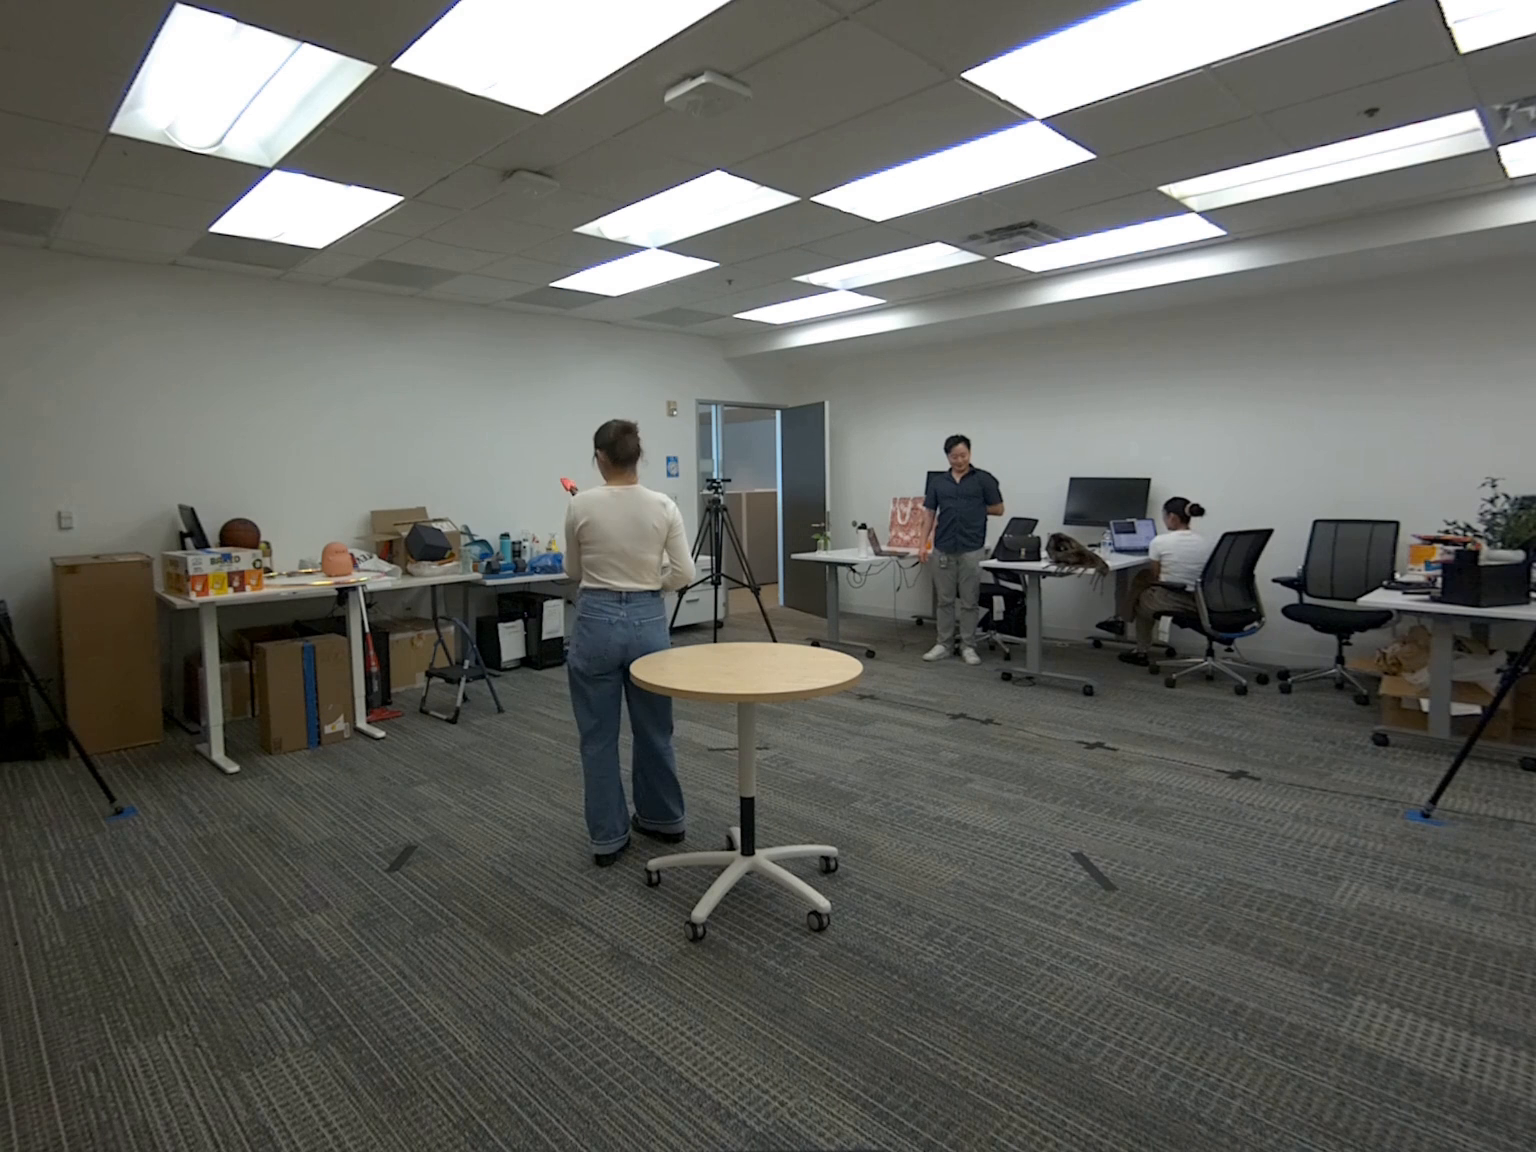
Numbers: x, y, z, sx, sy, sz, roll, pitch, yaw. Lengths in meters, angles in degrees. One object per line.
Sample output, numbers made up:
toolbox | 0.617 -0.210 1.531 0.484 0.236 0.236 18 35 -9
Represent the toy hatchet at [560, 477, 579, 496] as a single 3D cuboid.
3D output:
toy hatchet | -0.760 -0.300 3.395 0.029 0.280 0.126 -32 -42 5
